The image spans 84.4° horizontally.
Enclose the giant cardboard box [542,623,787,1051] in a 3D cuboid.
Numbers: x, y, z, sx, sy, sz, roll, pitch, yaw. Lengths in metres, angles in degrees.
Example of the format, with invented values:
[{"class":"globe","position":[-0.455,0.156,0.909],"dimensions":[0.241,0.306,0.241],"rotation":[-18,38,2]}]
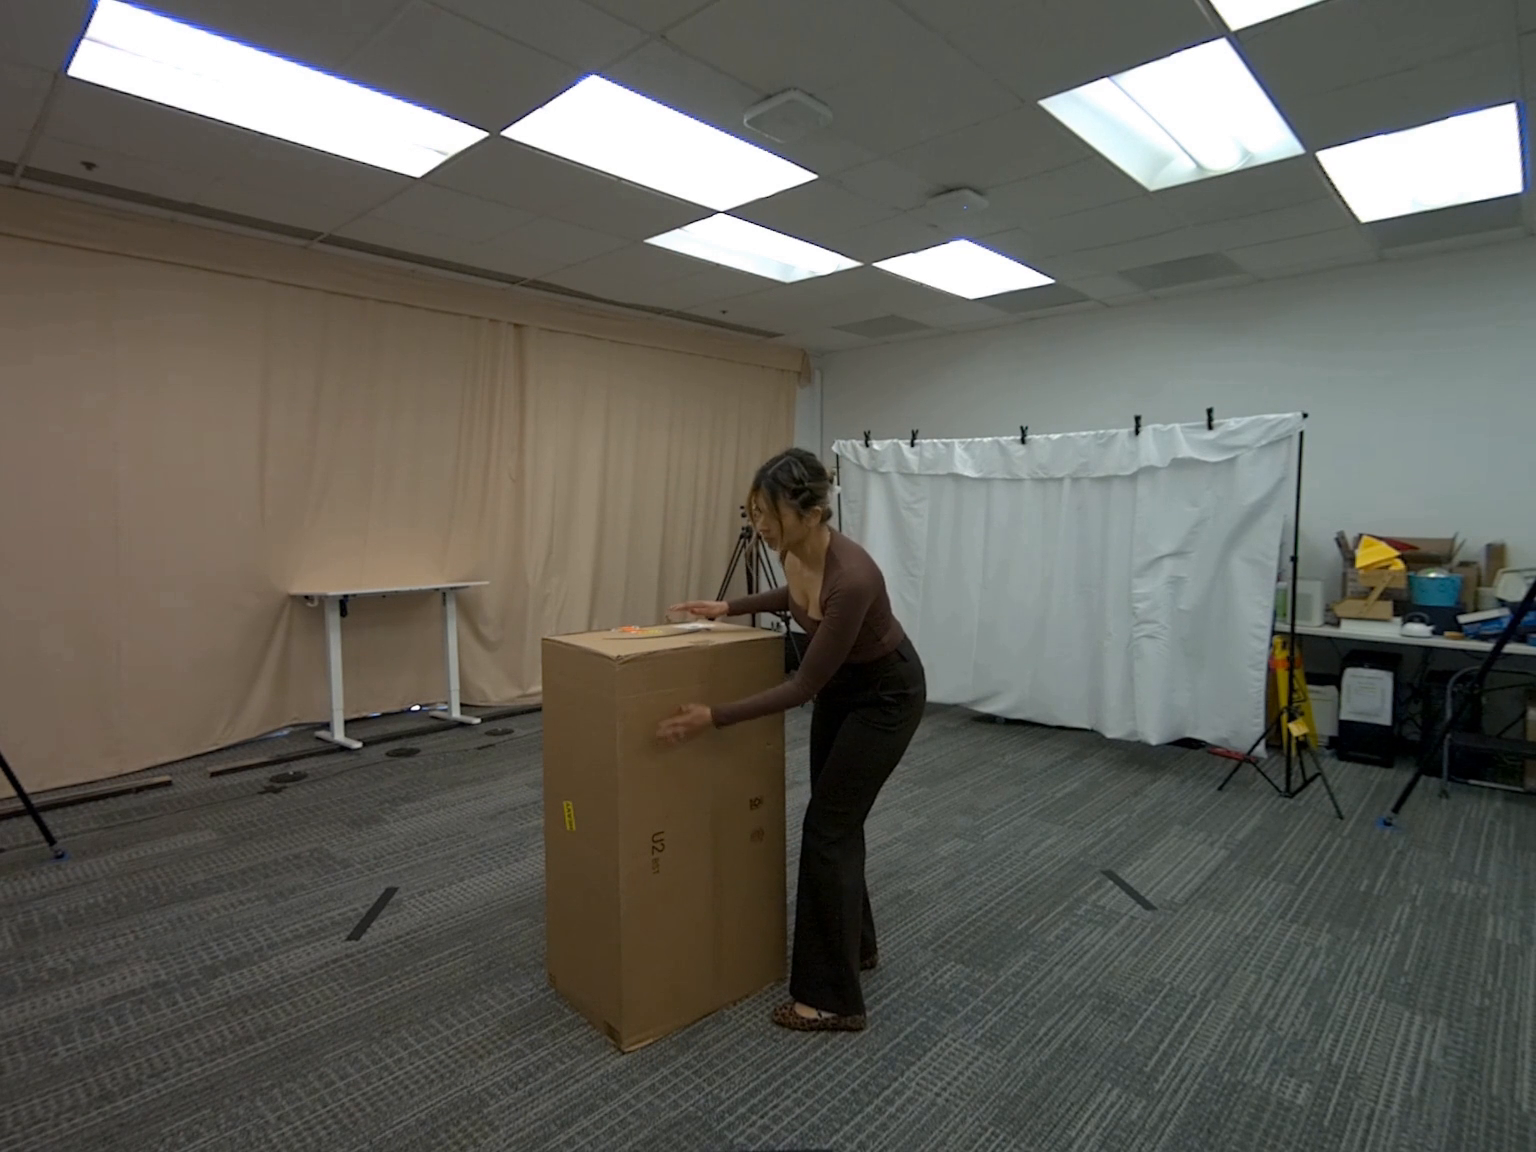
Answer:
[{"class":"giant cardboard box","position":[-0.298,0.679,2.456],"dimensions":[0.566,1.025,0.461],"rotation":[-2,3,-39]}]
